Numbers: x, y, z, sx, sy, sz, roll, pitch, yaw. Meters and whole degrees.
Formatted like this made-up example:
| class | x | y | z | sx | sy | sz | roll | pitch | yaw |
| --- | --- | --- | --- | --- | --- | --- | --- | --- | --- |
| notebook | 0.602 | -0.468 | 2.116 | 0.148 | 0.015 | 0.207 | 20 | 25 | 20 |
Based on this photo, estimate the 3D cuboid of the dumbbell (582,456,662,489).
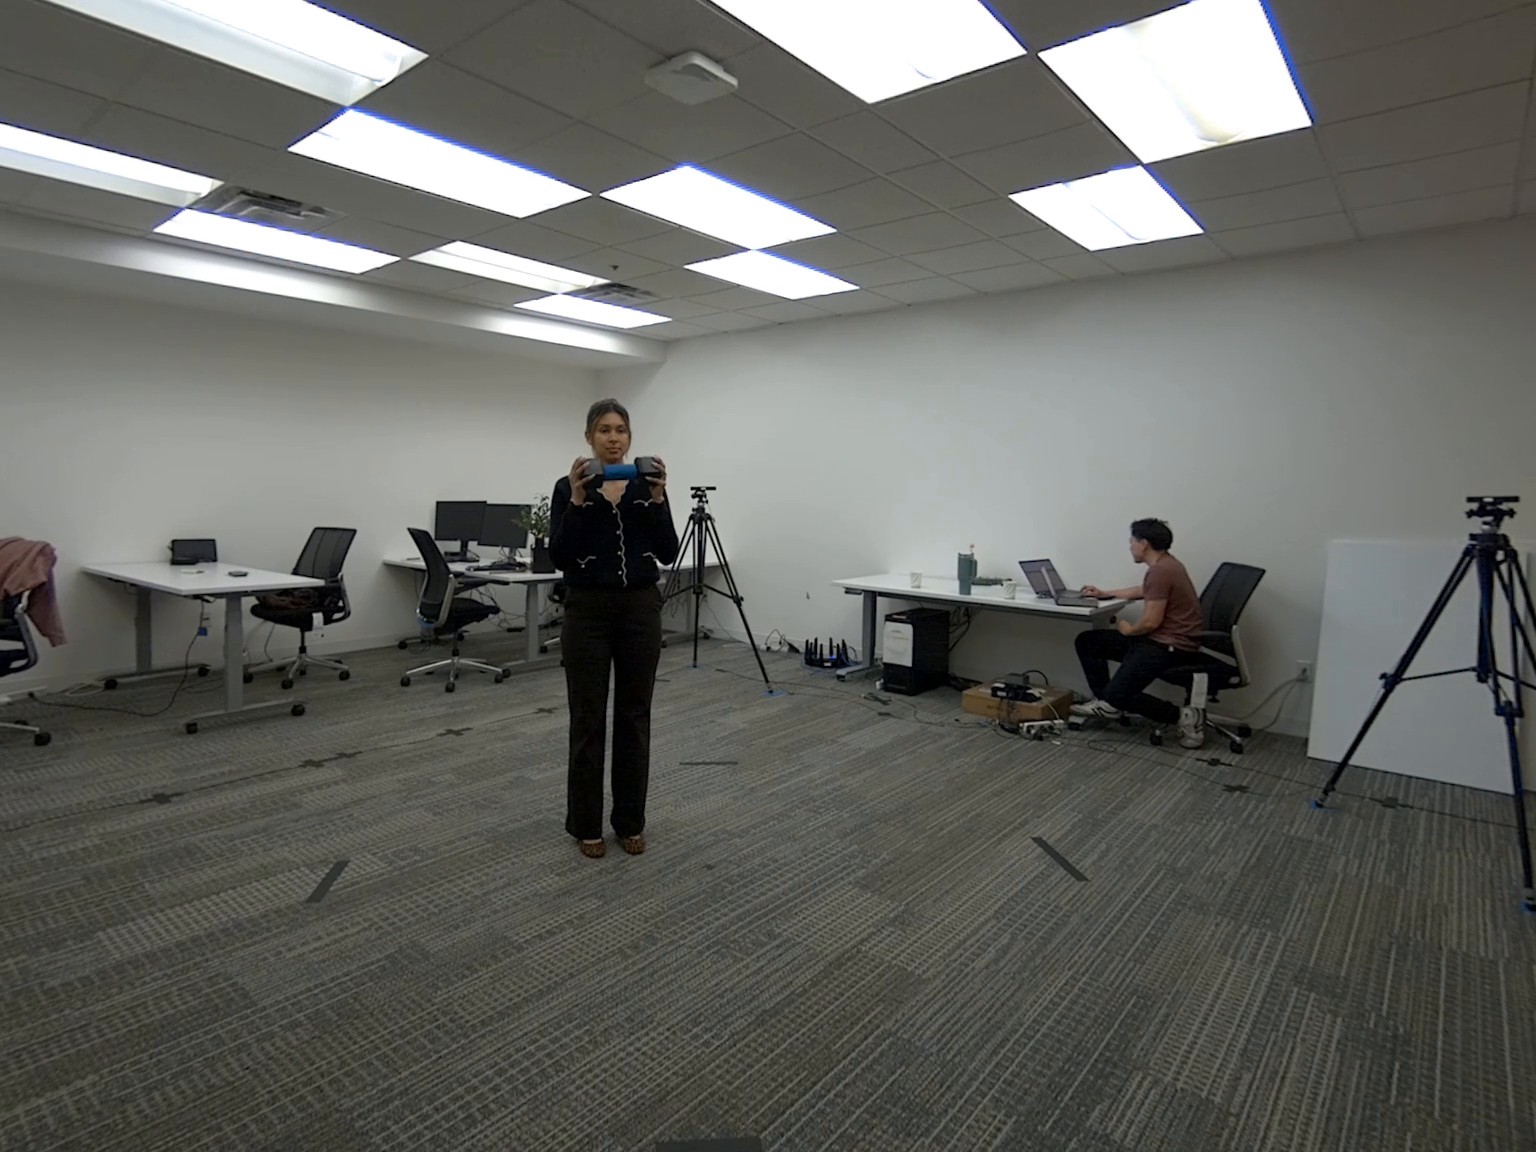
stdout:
| class | x | y | z | sx | sy | sz | roll | pitch | yaw |
| --- | --- | --- | --- | --- | --- | --- | --- | --- | --- |
| dumbbell | -0.562 | -0.375 | 3.106 | 0.288 | 0.113 | 0.121 | -6 | -39 | -22 |
